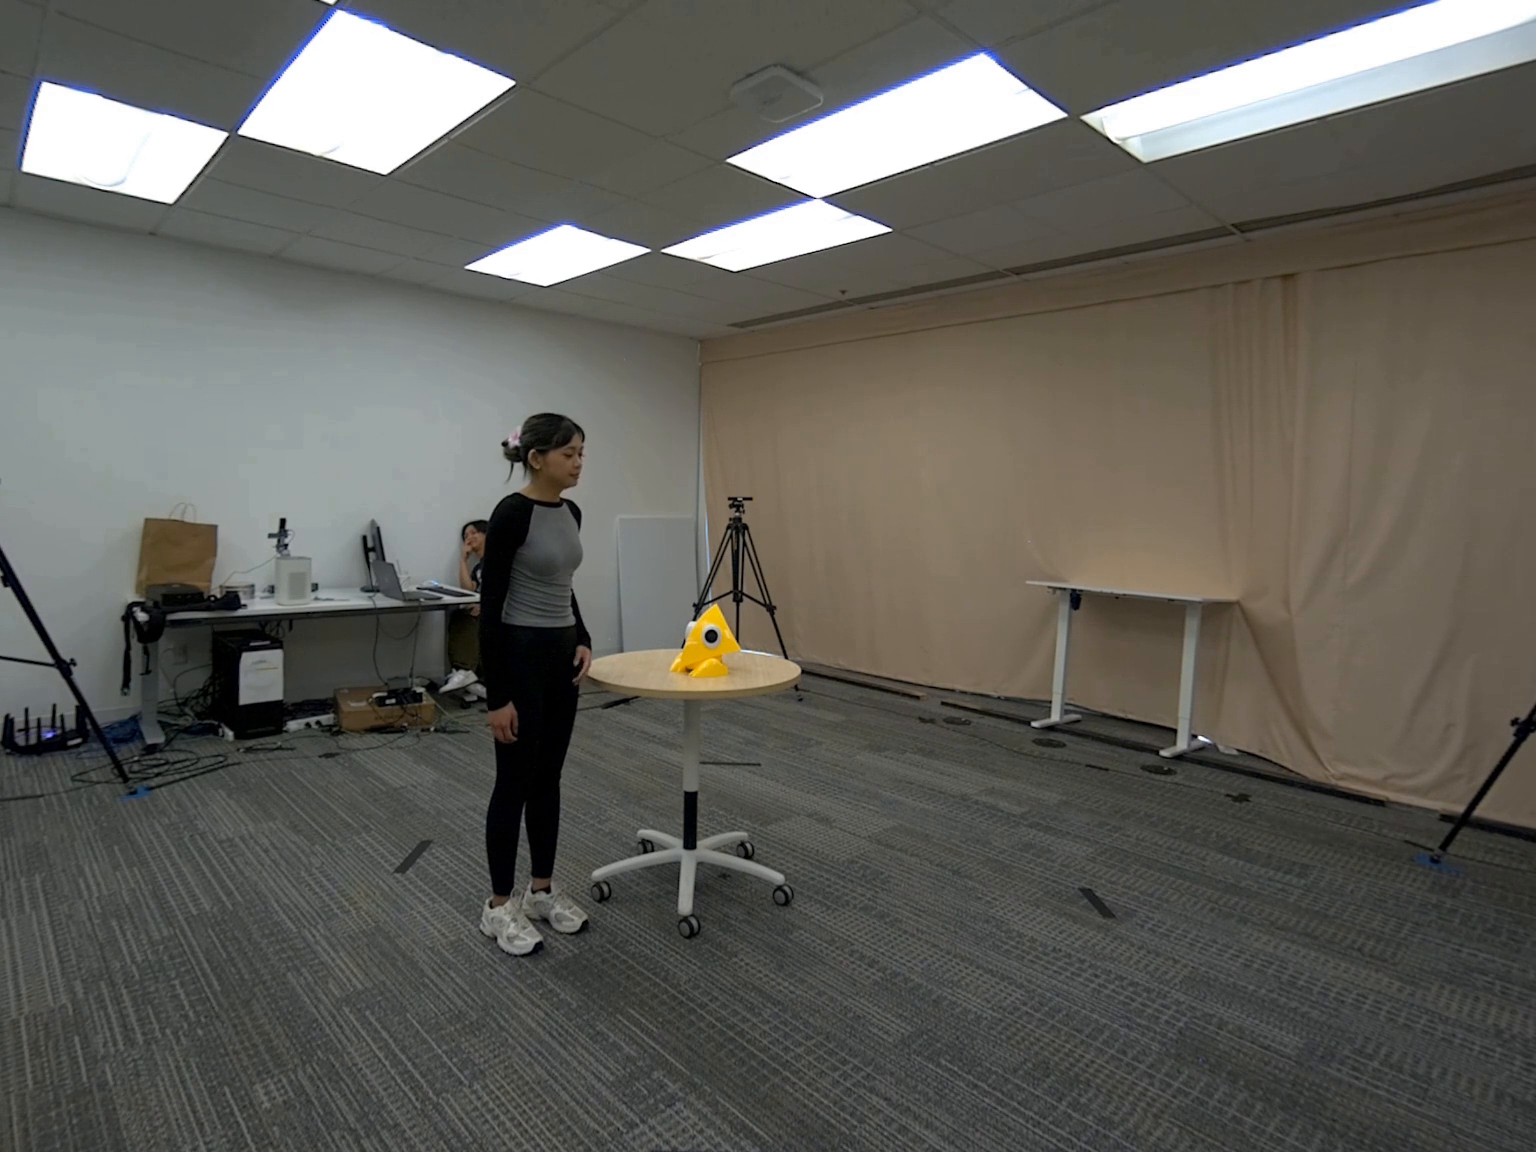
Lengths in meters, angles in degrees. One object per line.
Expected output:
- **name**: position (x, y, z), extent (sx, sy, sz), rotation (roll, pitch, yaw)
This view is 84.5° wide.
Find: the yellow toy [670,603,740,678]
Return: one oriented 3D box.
- **yellow toy**: position (-0.232, 0.216, 2.903), extent (0.189, 0.230, 0.210), rotation (-3, 5, -42)
